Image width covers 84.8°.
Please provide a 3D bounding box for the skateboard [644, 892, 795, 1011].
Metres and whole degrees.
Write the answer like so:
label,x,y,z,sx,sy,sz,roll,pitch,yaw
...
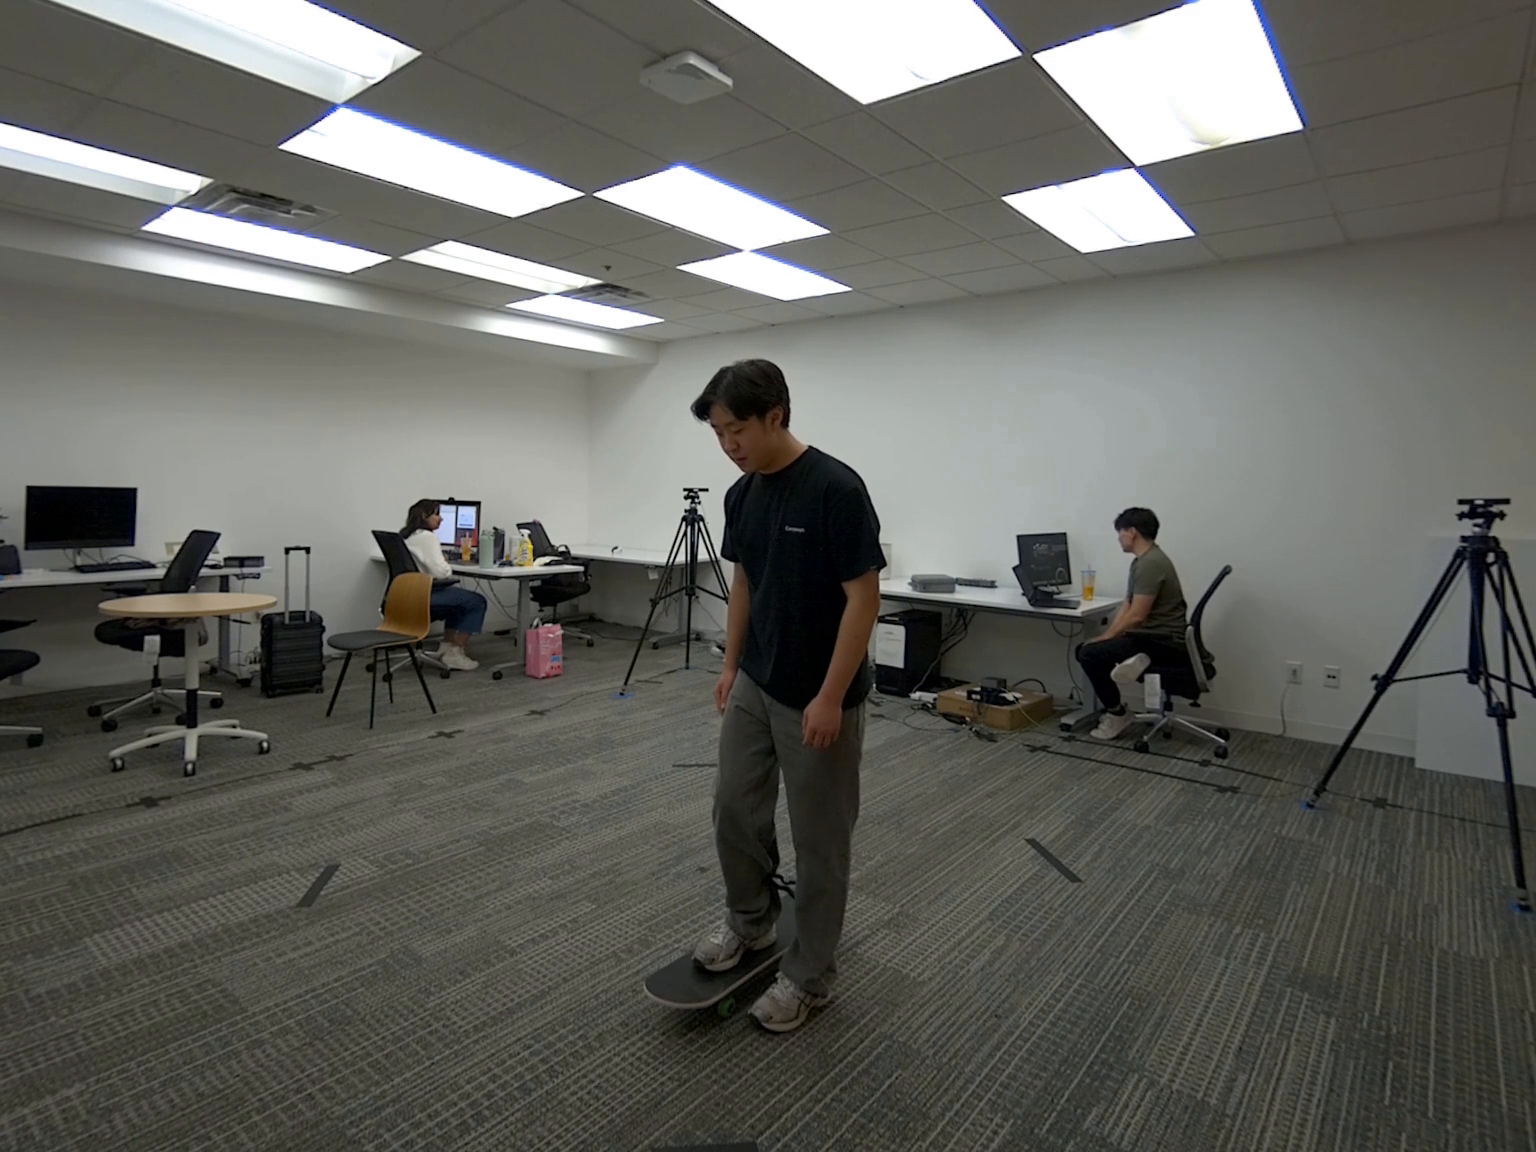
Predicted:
label,x,y,z,sx,sy,sz,roll,pitch,yaw
skateboard,-0.058,1.092,2.445,0.200,0.110,0.763,6,7,38
